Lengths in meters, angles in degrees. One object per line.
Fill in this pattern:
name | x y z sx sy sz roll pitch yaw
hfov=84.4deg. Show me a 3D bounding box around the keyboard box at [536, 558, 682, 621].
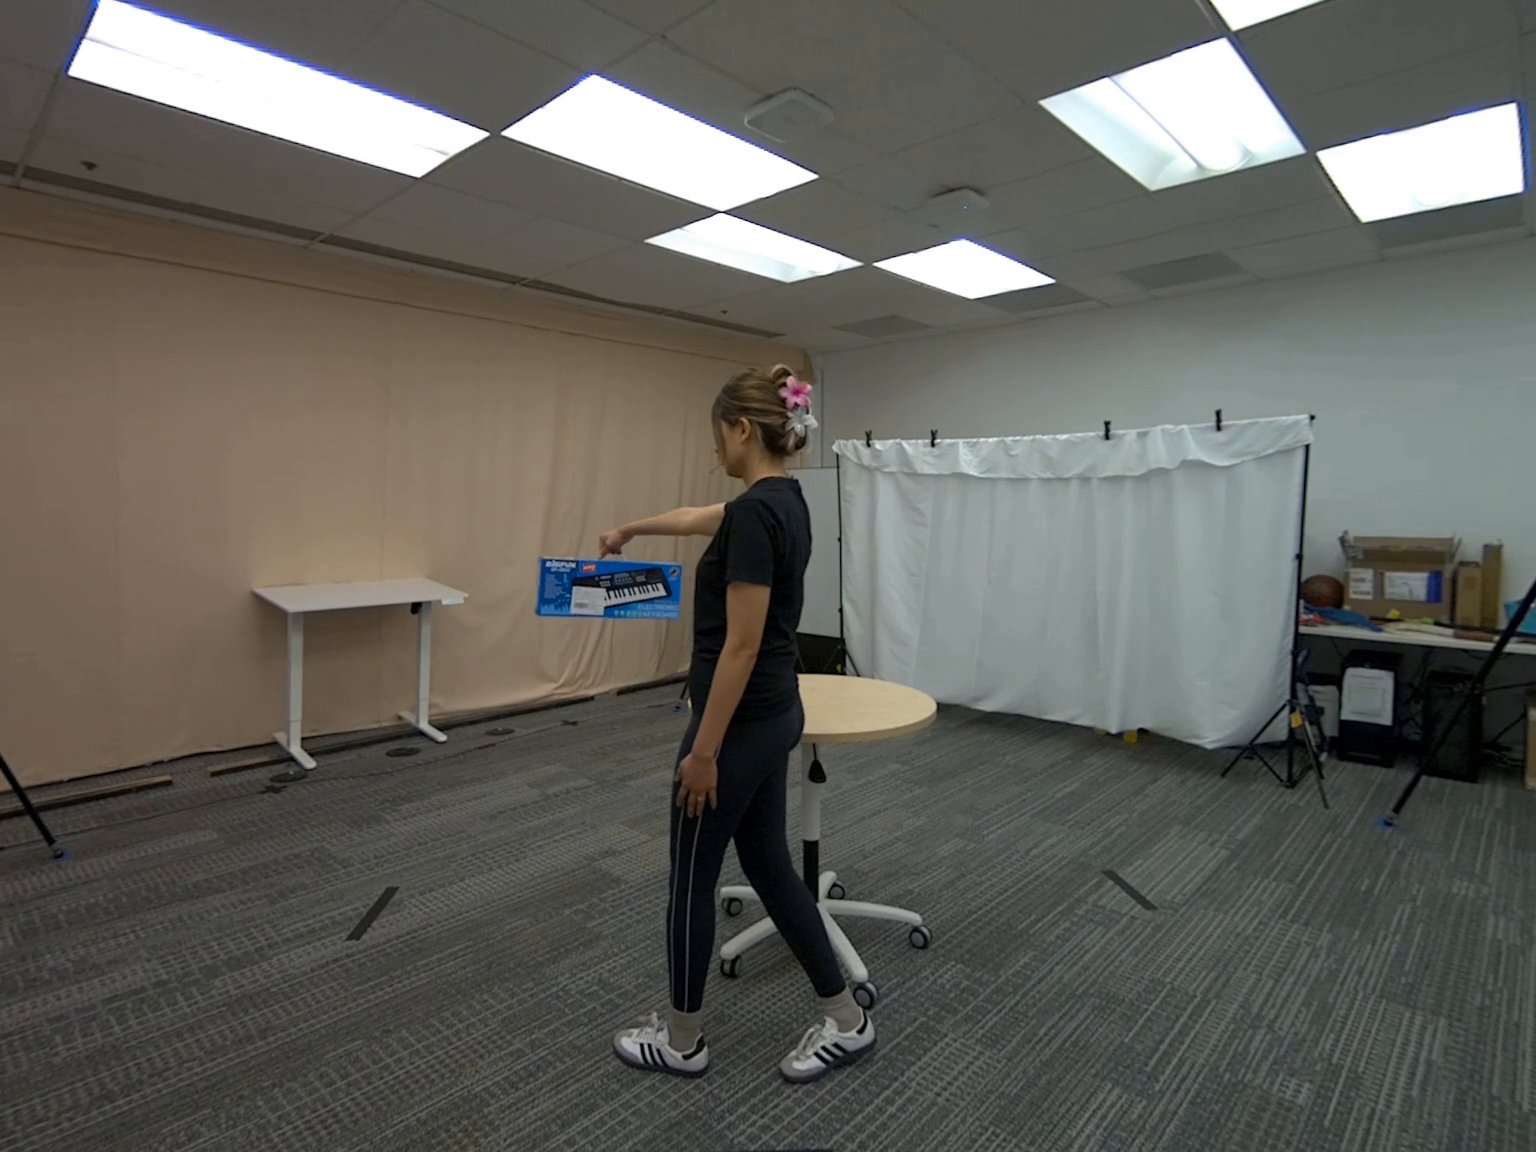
keyboard box | -0.481 0.040 2.562 0.427 0.176 0.060 3 2 -22
